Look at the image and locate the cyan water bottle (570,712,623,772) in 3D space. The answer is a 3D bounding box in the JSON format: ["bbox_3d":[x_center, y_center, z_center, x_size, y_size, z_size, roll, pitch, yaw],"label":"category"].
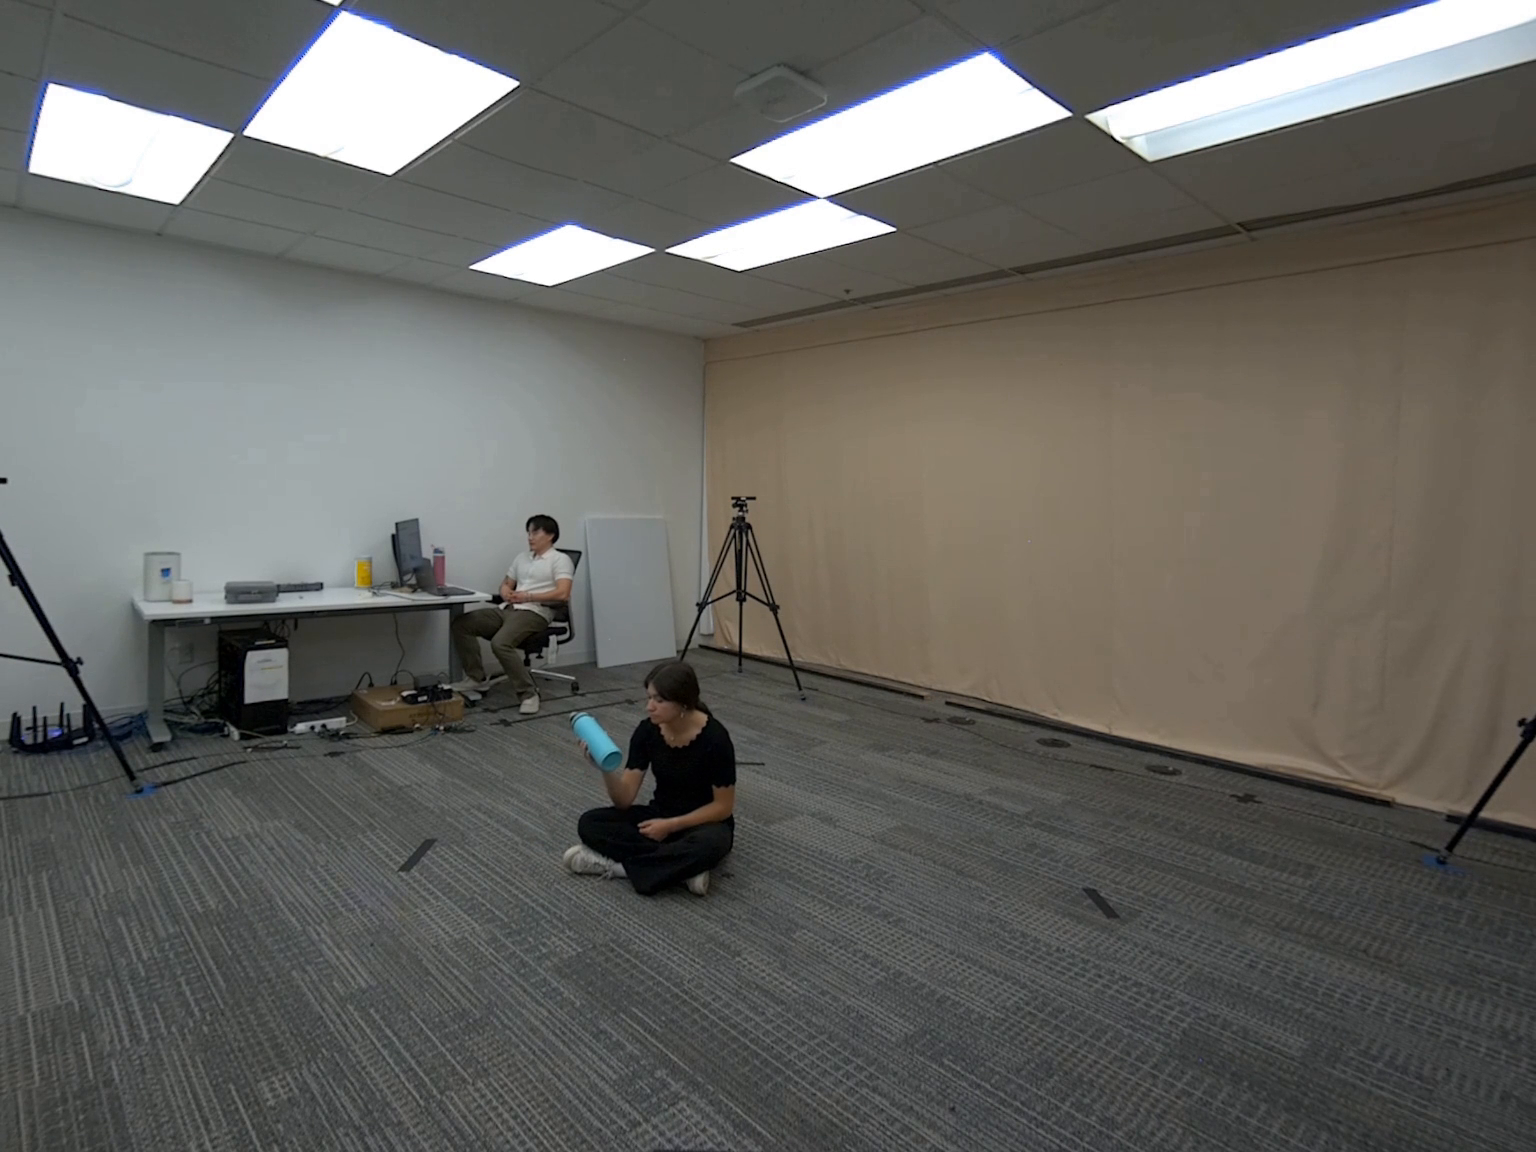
[{"bbox_3d":[-0.639,0.592,3.070,0.090,0.091,0.292,-2,27,-39],"label":"cyan water bottle"}]
